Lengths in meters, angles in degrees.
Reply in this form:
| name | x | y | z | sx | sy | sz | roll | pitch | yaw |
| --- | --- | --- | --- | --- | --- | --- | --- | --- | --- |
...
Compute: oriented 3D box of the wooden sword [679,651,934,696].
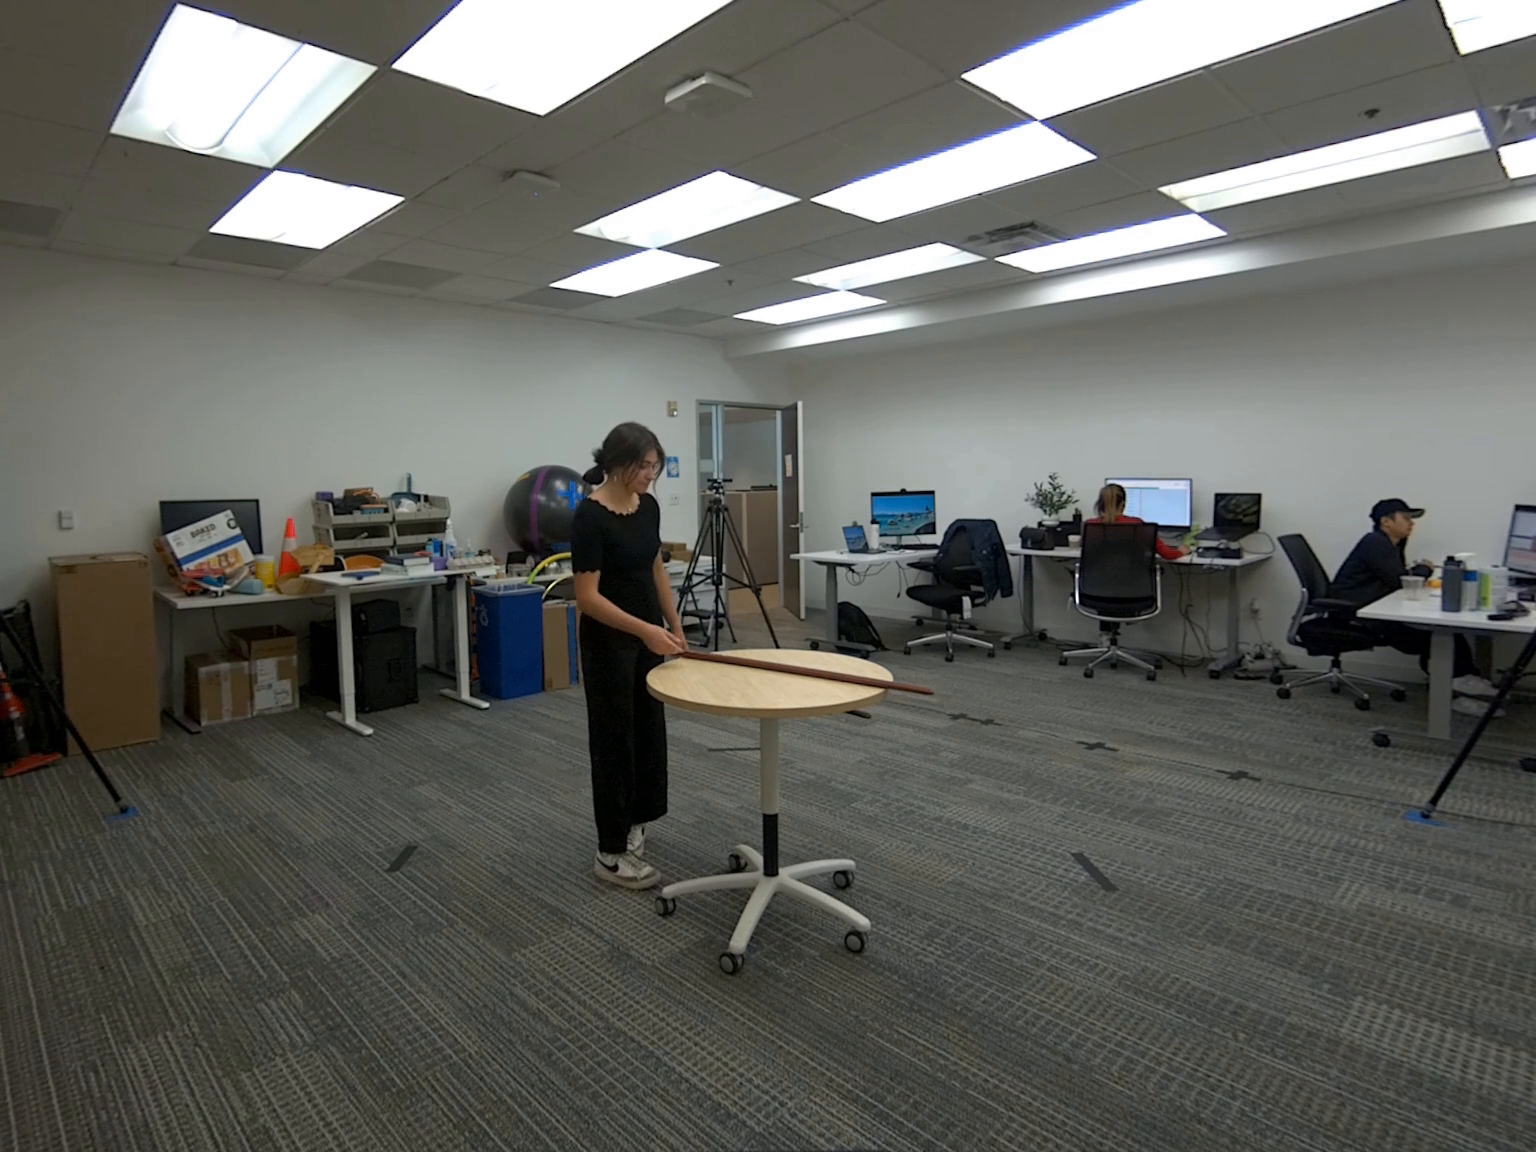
| name | x | y | z | sx | sy | sz | roll | pitch | yaw |
| --- | --- | --- | --- | --- | --- | --- | --- | --- | --- |
| wooden sword | 0.059 | 0.297 | 2.694 | 1.054 | 0.024 | 0.050 | 4 | 8 | 34 |
